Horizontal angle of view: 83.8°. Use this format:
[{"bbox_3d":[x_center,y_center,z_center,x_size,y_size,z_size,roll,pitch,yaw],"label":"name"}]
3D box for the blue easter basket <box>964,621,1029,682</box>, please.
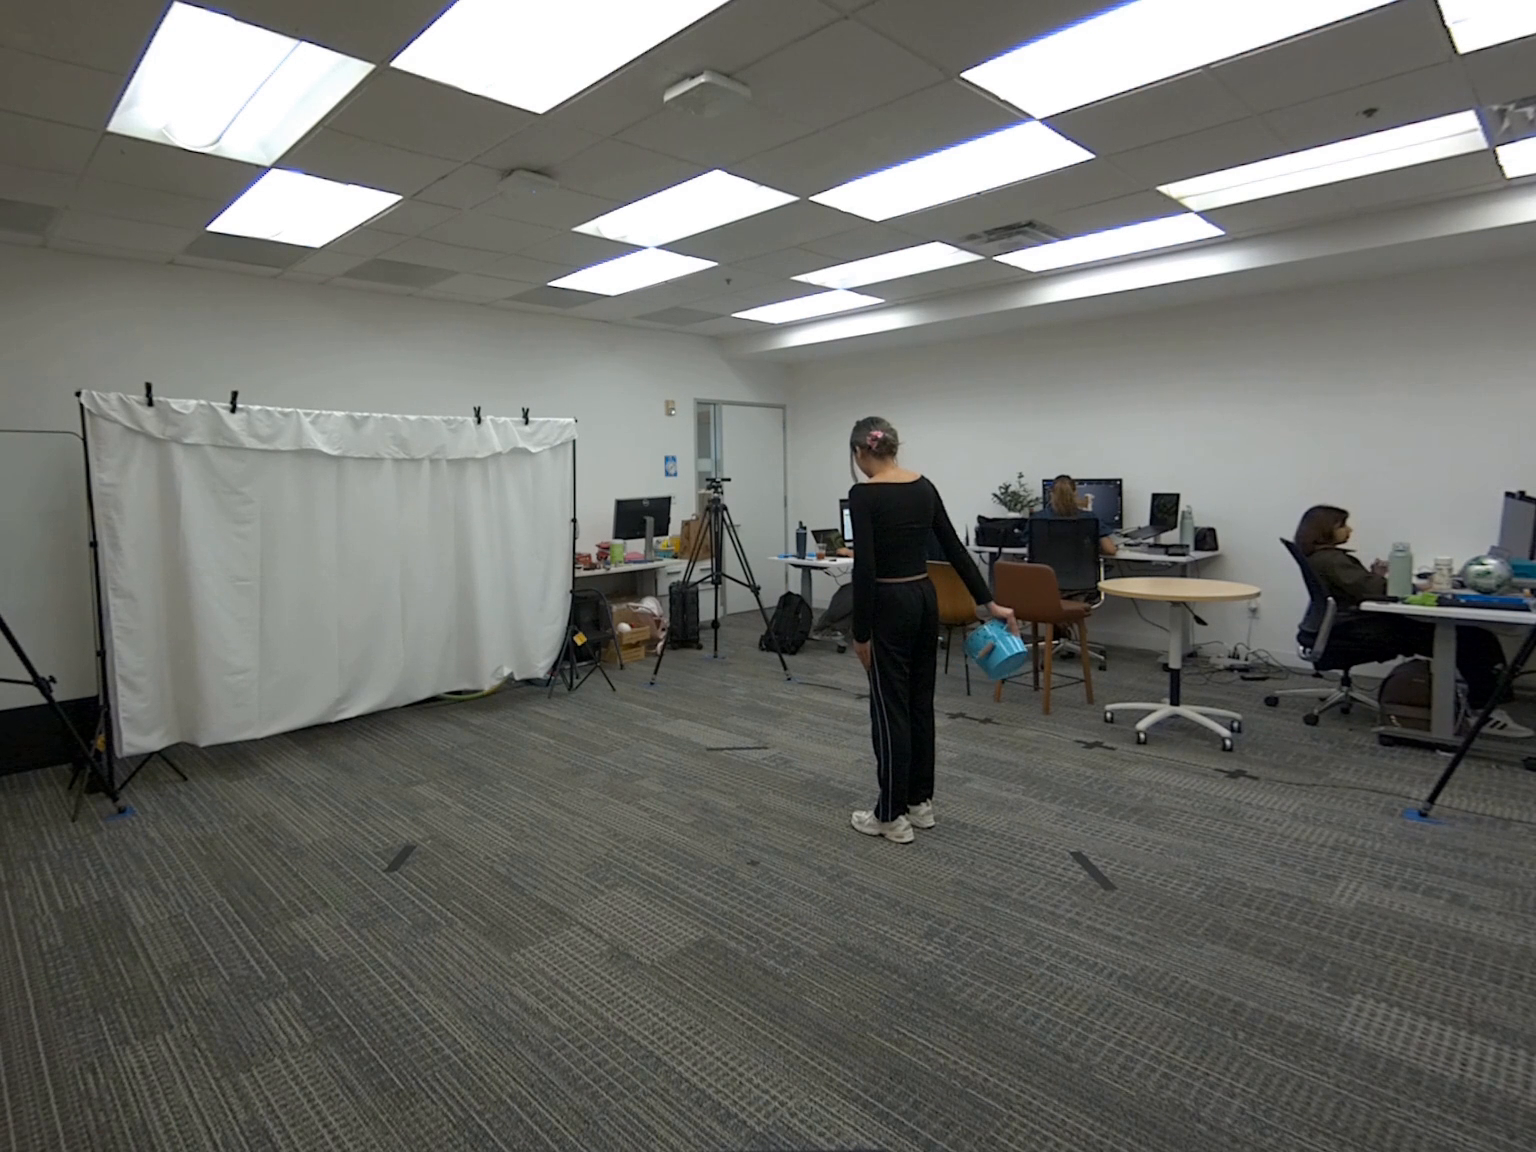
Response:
[{"bbox_3d":[0.896,0.297,3.387,0.238,0.240,0.161,-4,47,-30],"label":"blue easter basket"}]
